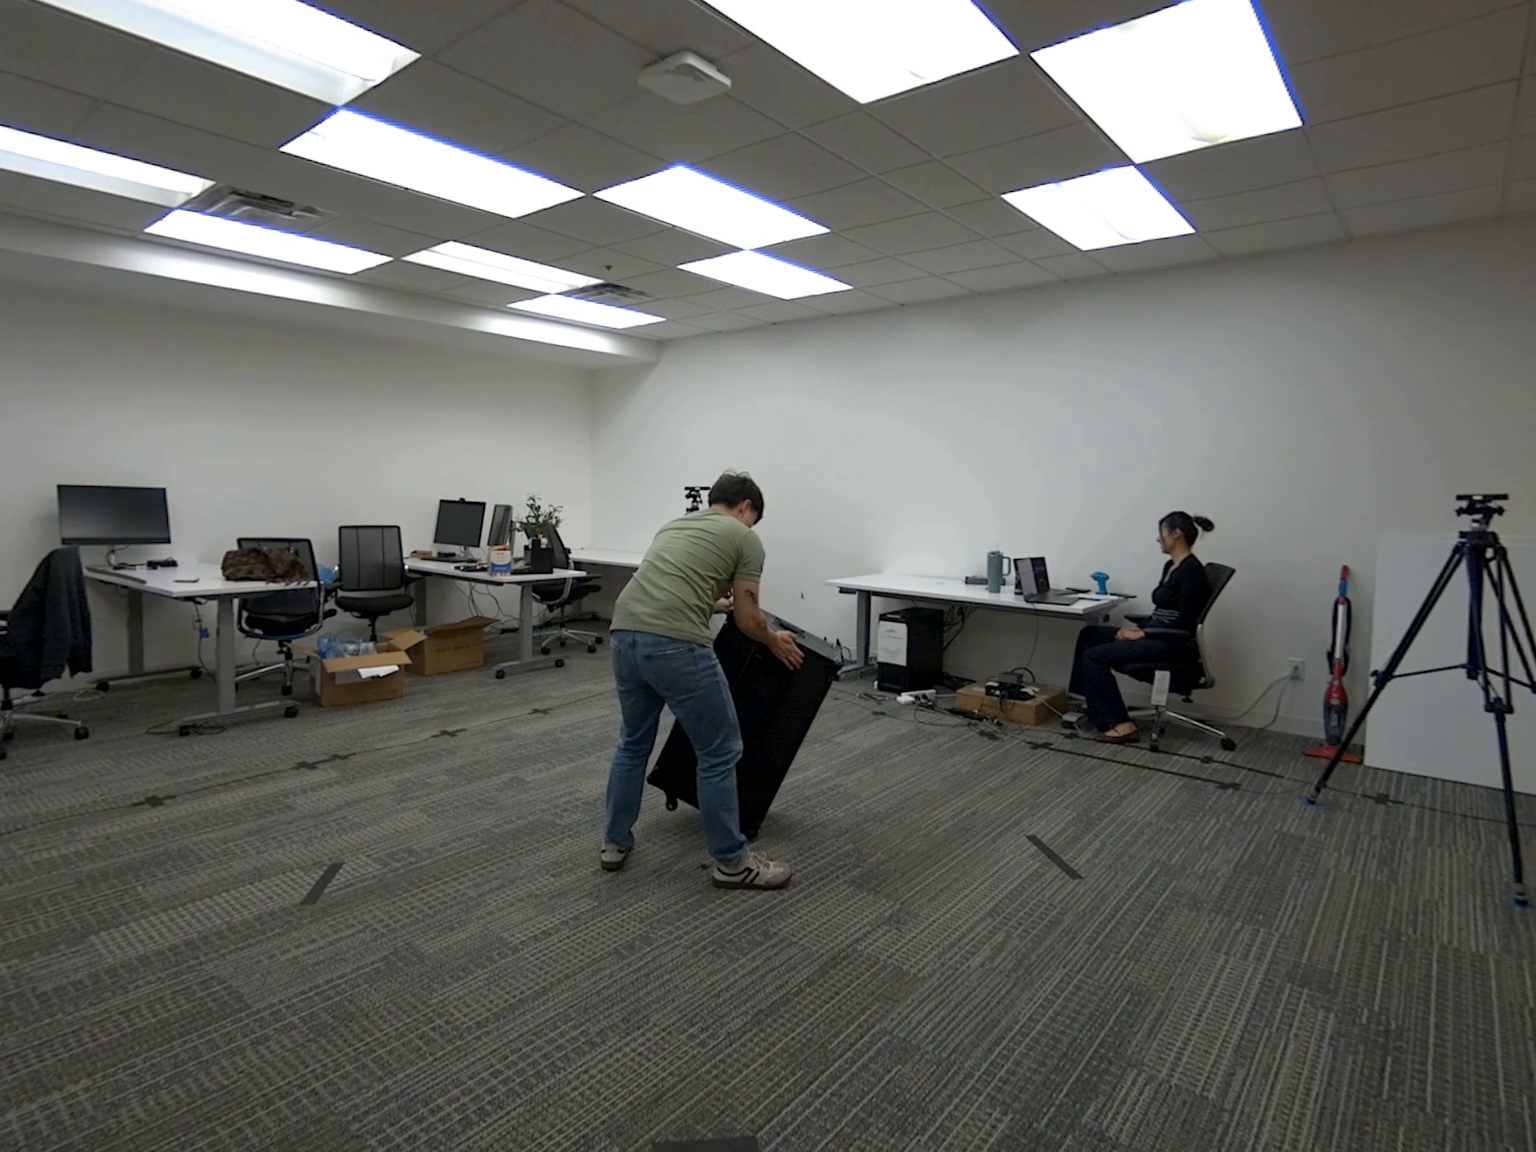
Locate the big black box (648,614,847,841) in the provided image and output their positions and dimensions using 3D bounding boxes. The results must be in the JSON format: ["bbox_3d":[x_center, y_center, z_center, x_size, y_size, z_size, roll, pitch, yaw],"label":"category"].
[{"bbox_3d":[-0.087,0.540,3.490,0.526,0.860,0.394,26,4,5],"label":"big black box"}]
